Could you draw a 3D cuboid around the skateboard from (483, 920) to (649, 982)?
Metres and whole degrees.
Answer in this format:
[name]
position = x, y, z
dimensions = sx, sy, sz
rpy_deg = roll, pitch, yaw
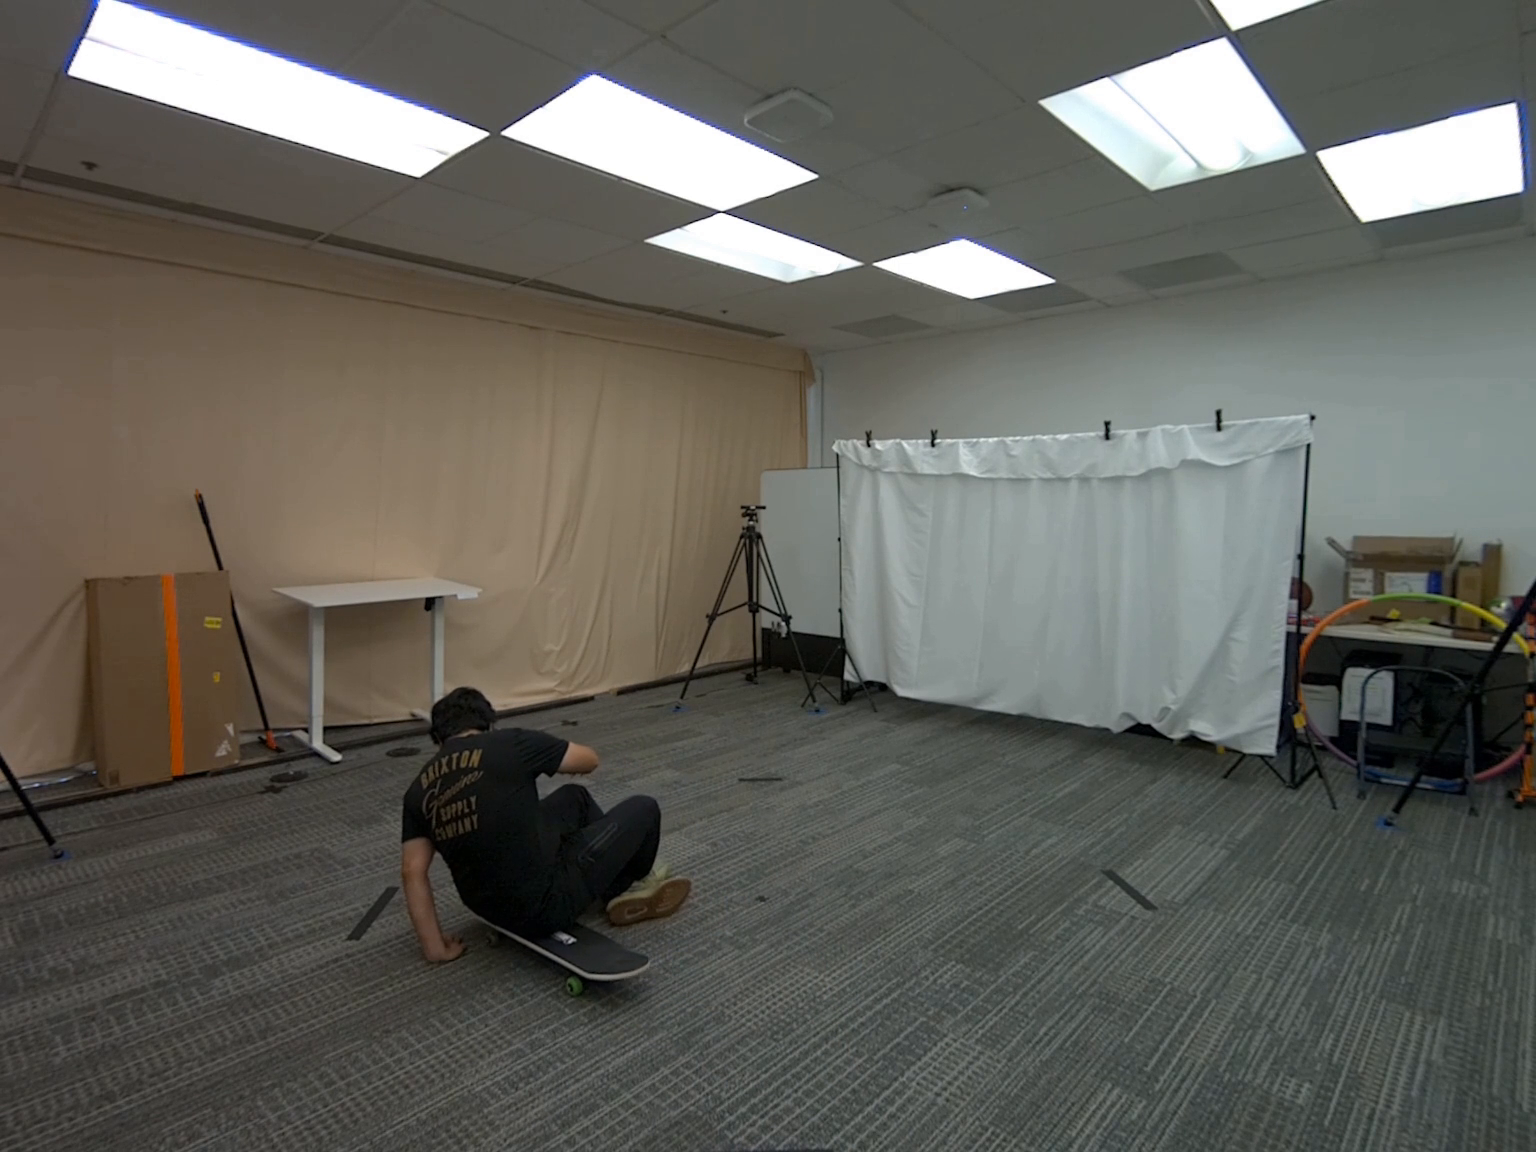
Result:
[skateboard]
position = -0.664, 1.122, 2.595
dimensions = 0.811, 0.110, 0.187
rpy_deg = 2, 3, 41
